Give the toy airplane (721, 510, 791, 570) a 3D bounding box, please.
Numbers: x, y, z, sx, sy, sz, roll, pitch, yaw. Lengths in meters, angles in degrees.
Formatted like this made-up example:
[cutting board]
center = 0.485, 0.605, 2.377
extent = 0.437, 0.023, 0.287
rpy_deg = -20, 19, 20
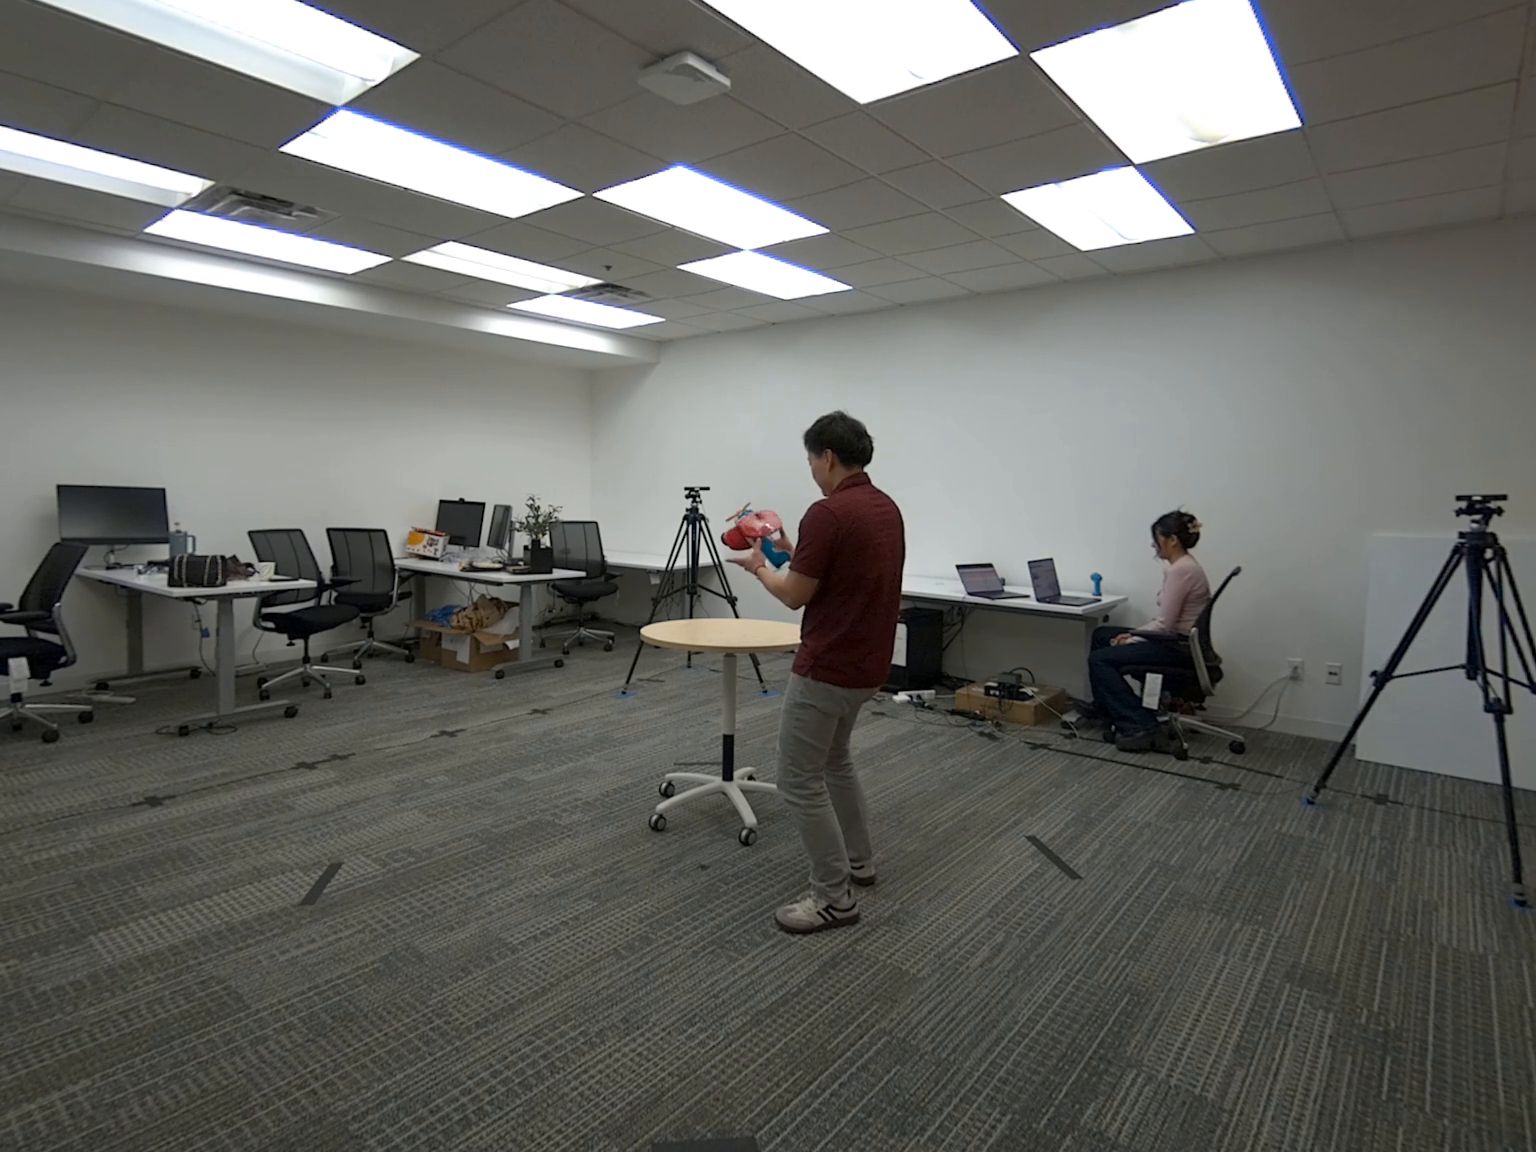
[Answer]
[toy airplane]
center = -0.038, -0.106, 3.078
extent = 0.257, 0.155, 0.255
rpy_deg = 27, 30, -7
